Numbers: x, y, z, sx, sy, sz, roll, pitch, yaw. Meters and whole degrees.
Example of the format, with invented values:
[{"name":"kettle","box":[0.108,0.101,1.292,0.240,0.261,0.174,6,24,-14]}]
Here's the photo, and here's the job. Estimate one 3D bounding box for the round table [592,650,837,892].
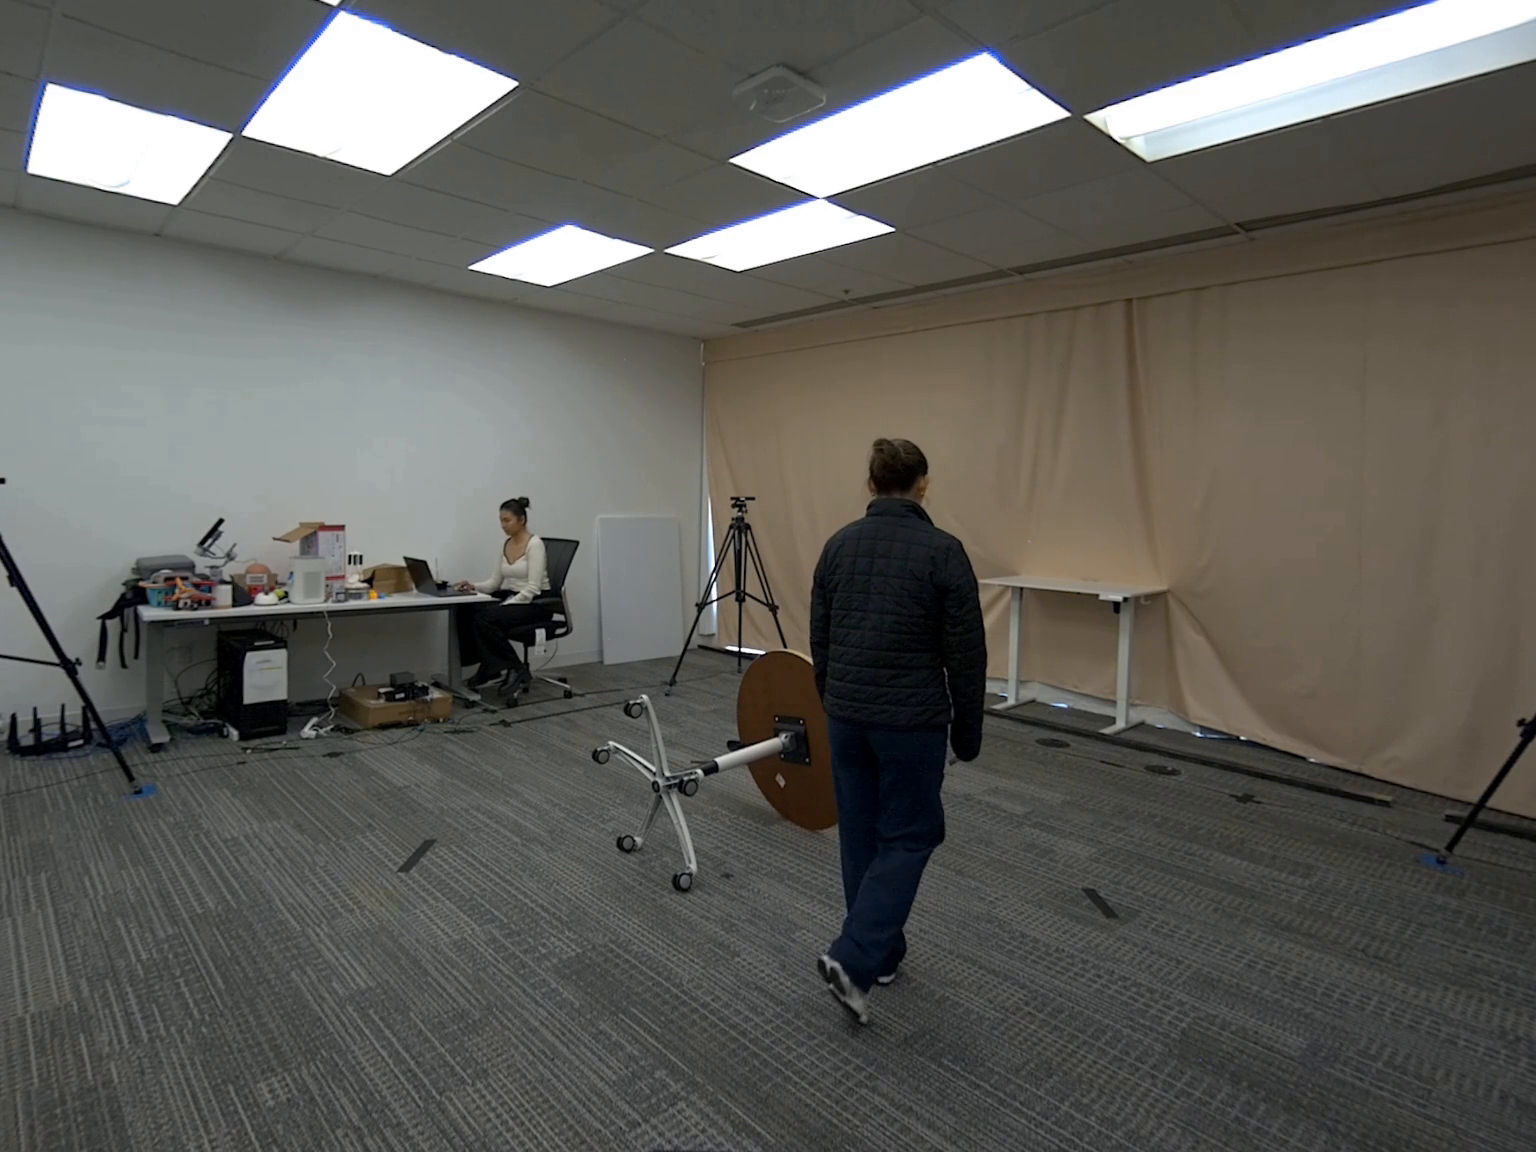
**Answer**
[{"name":"round table","box":[-0.190,0.748,3.338,0.771,0.781,0.805,-9,10,-38]}]
